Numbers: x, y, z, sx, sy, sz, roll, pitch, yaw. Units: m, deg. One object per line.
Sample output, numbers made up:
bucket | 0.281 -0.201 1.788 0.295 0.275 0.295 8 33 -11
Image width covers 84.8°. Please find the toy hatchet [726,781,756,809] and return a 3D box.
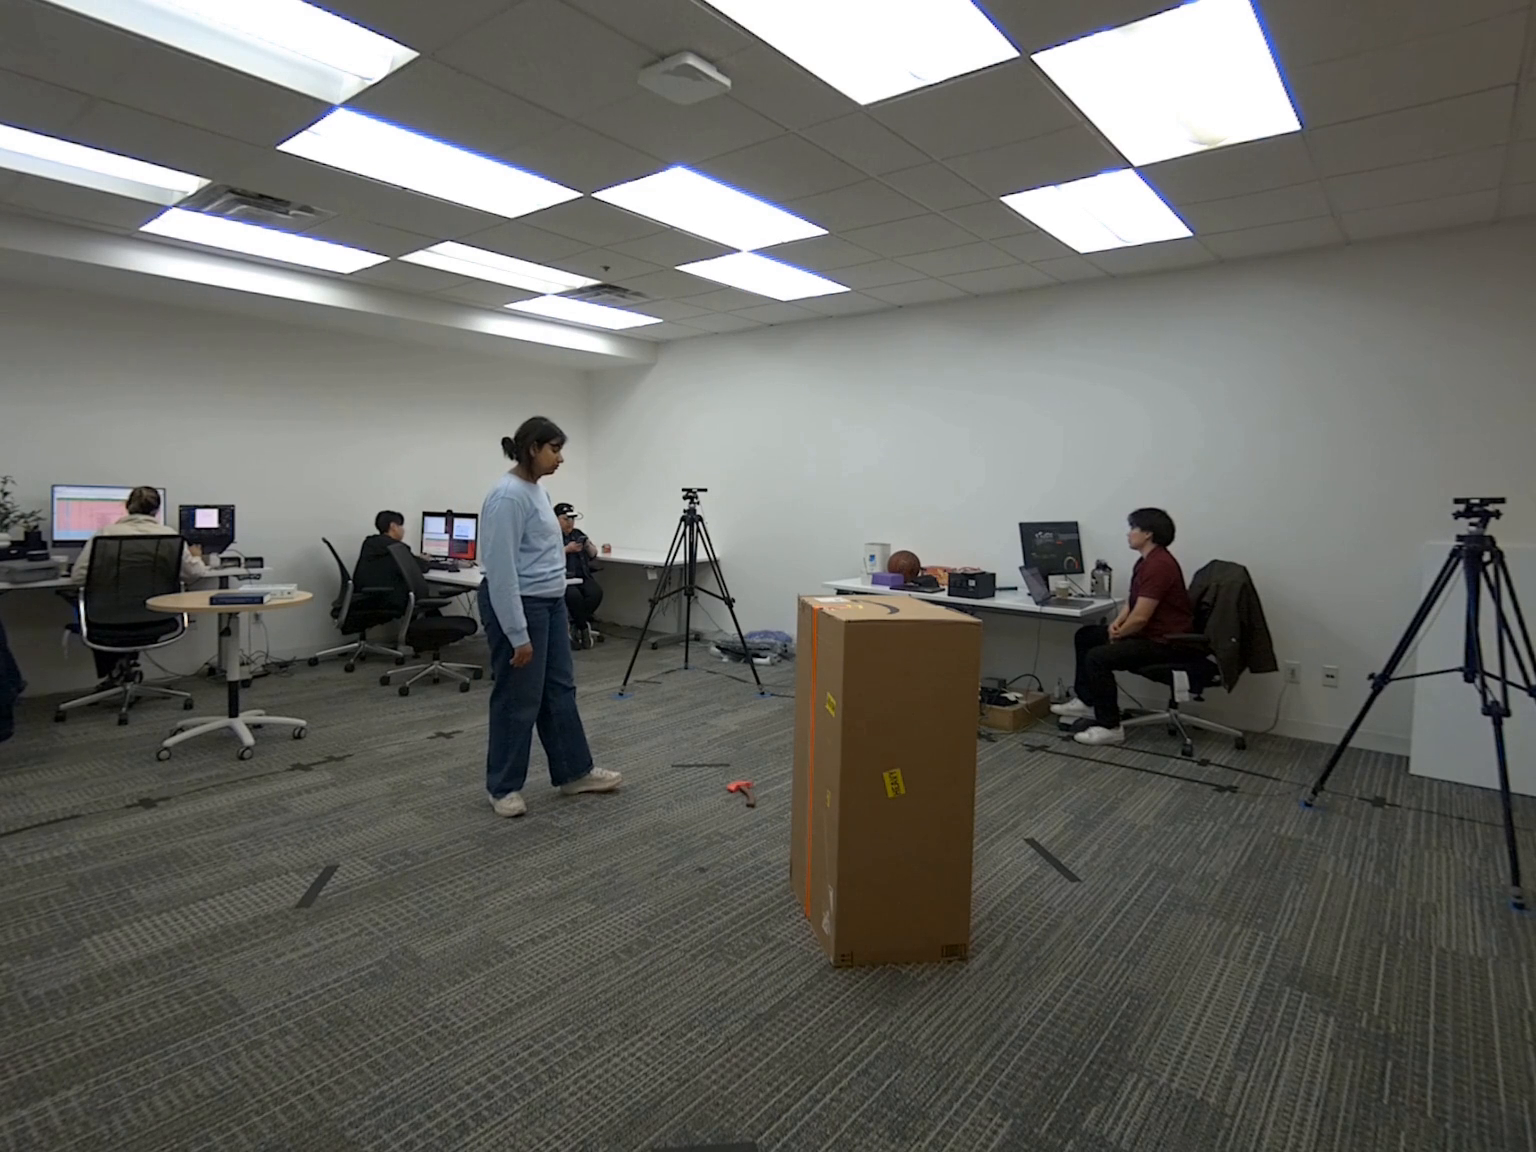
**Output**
toy hatchet | -0.134 0.986 3.860 0.131 0.029 0.271 3 6 0
